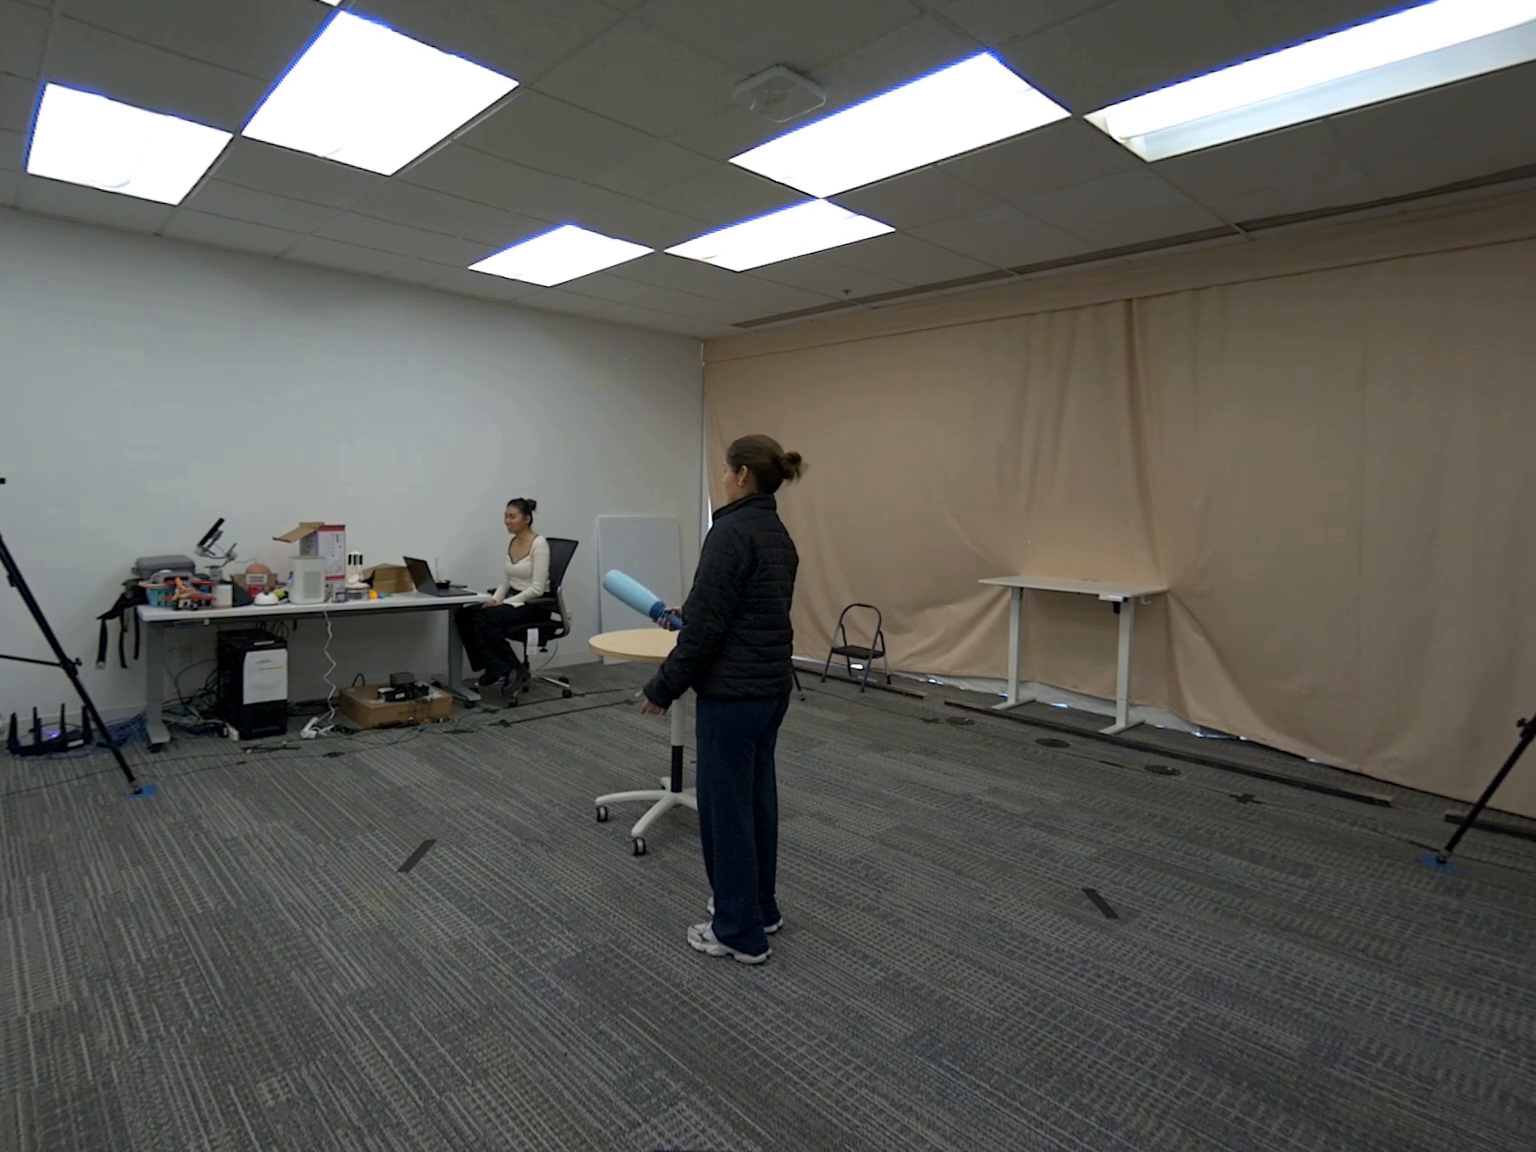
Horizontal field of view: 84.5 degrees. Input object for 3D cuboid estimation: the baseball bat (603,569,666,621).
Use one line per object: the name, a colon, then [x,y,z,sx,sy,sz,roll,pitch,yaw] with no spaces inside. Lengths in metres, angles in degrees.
baseball bat: [-0.375,0.119,2.908,0.558,0.088,0.087,33,21,31]
